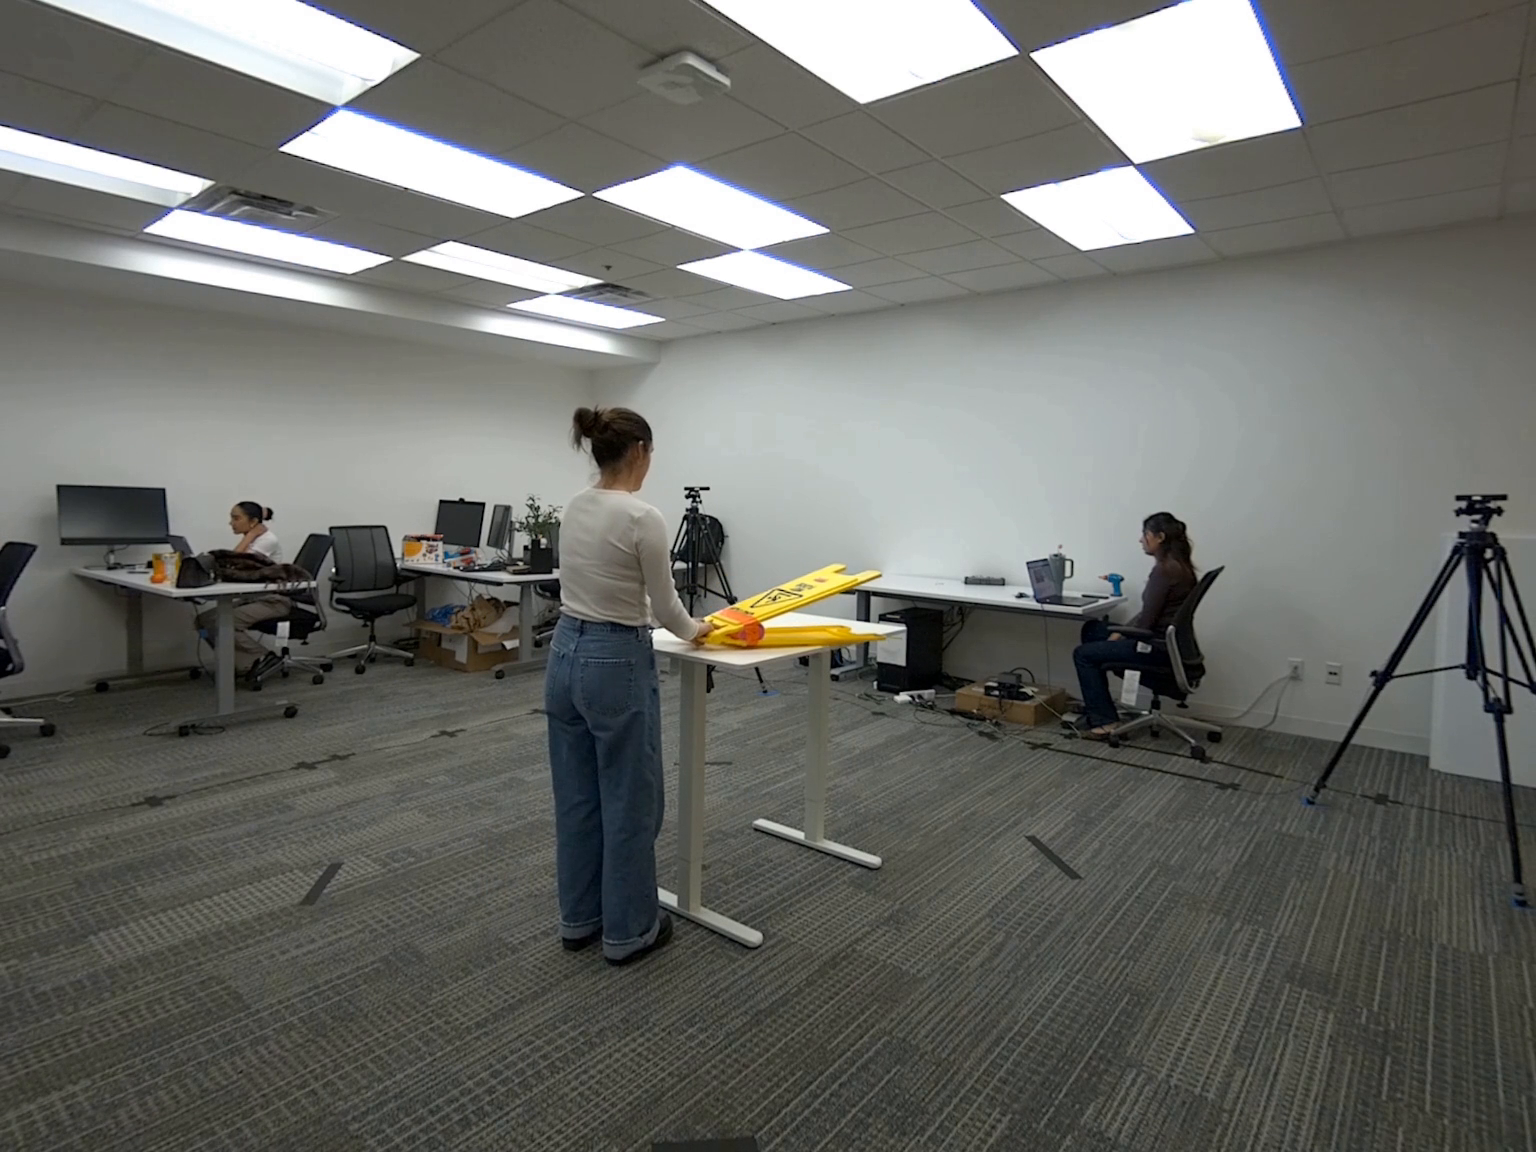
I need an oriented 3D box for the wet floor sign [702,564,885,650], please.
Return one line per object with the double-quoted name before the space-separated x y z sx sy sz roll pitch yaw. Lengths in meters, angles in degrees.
"wet floor sign" 0.027 0.147 2.850 0.632 0.287 0.291 -10 10 -26
